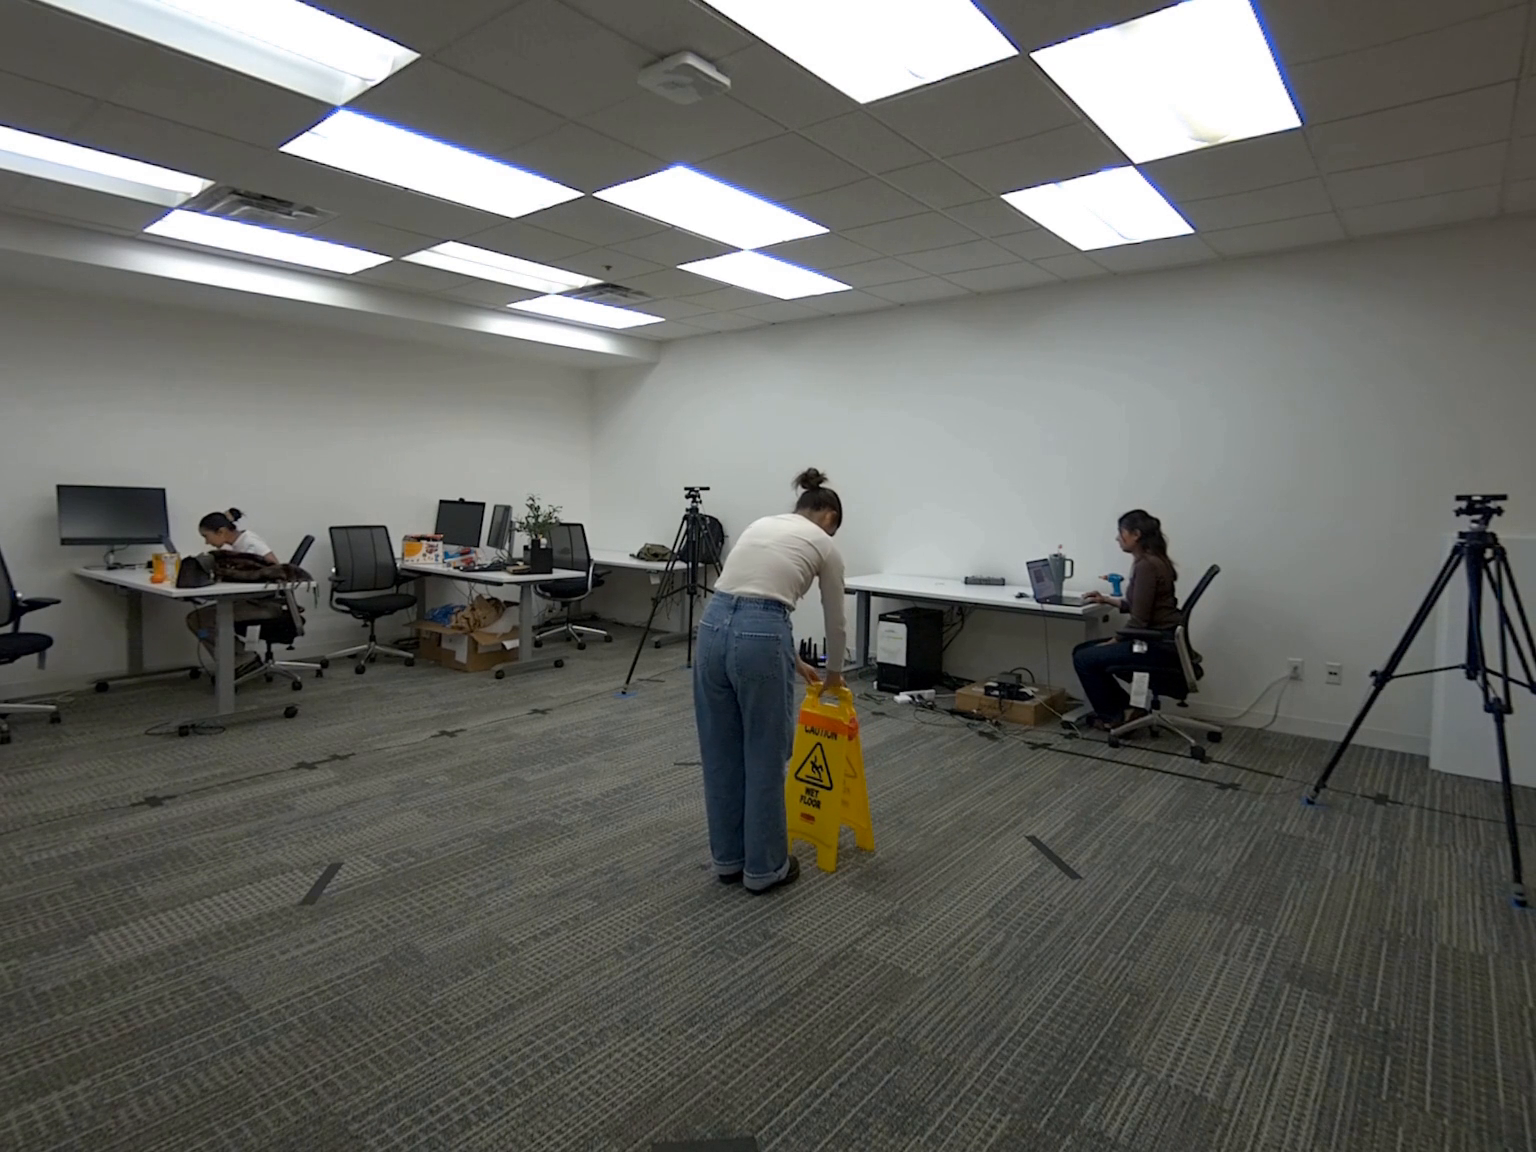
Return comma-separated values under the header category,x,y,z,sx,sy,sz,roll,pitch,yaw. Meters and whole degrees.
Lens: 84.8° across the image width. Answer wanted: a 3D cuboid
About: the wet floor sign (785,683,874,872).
category,x,y,z,sx,sy,sz,roll,pitch,yaw
wet floor sign,0.218,0.732,3.272,0.292,0.644,0.281,5,4,40
